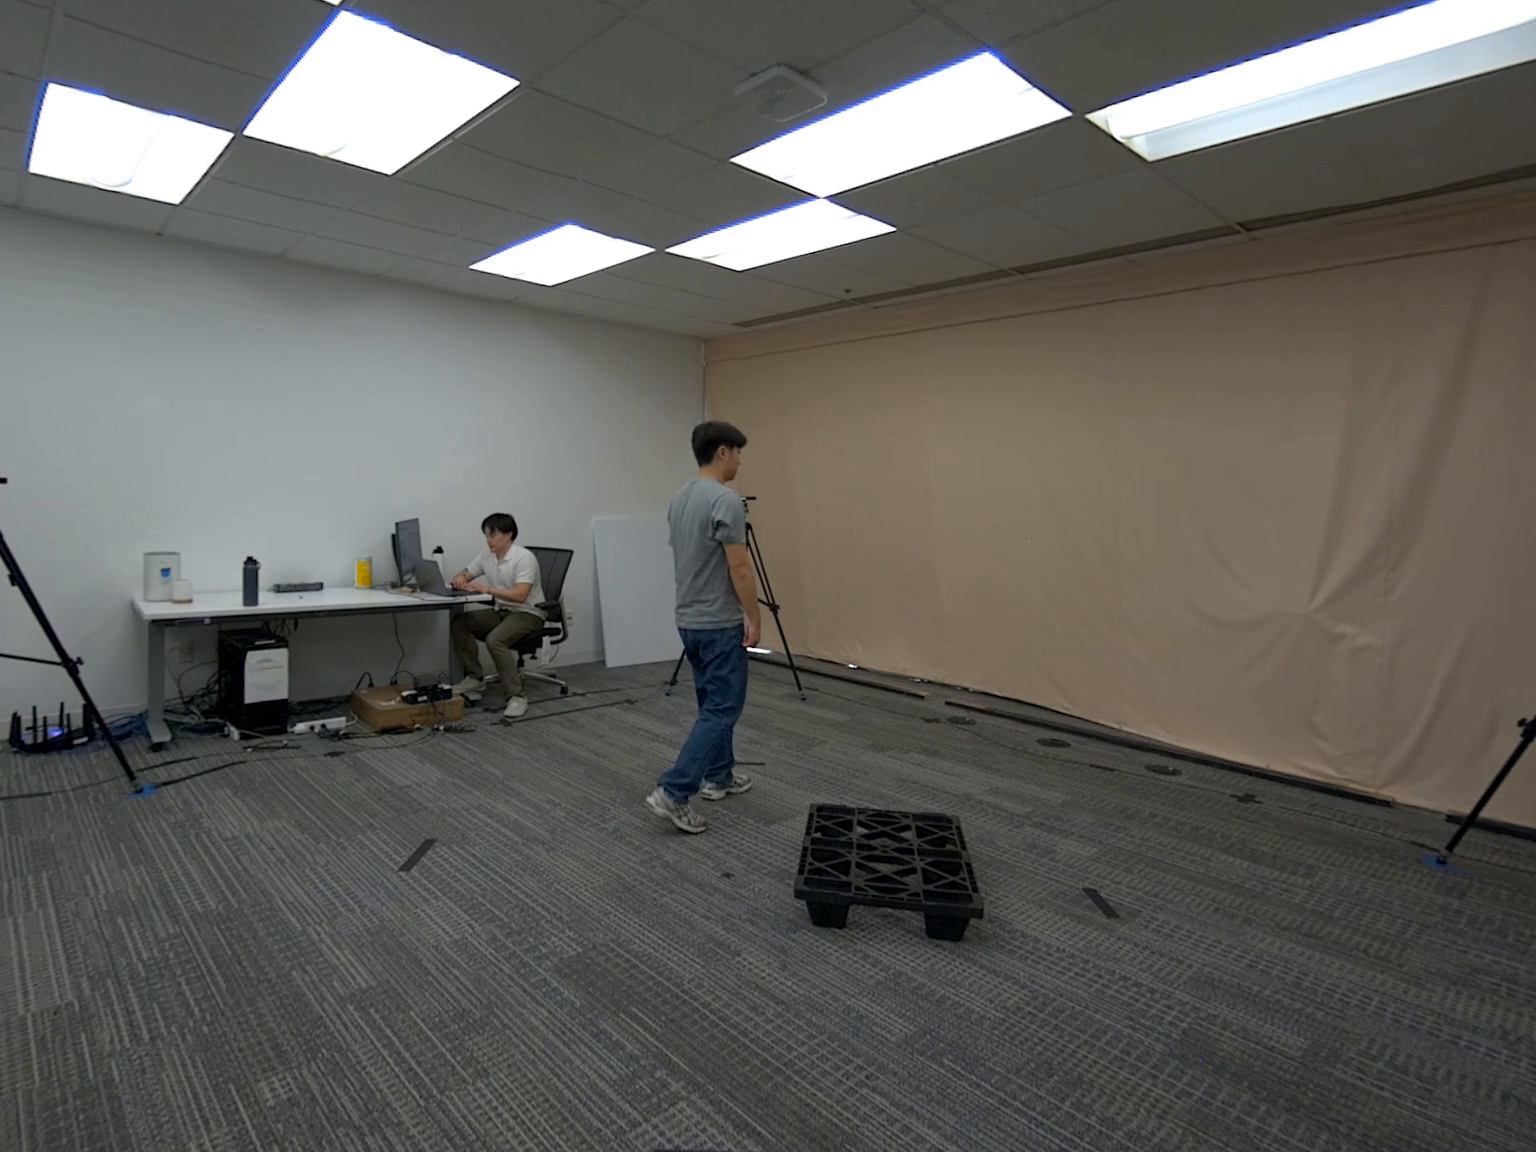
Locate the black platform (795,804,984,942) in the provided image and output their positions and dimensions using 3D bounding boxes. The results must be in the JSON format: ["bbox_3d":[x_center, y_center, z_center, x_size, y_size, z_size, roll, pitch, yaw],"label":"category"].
[{"bbox_3d":[0.413,1.053,3.062,0.609,0.143,0.802,2,5,8],"label":"black platform"}]
